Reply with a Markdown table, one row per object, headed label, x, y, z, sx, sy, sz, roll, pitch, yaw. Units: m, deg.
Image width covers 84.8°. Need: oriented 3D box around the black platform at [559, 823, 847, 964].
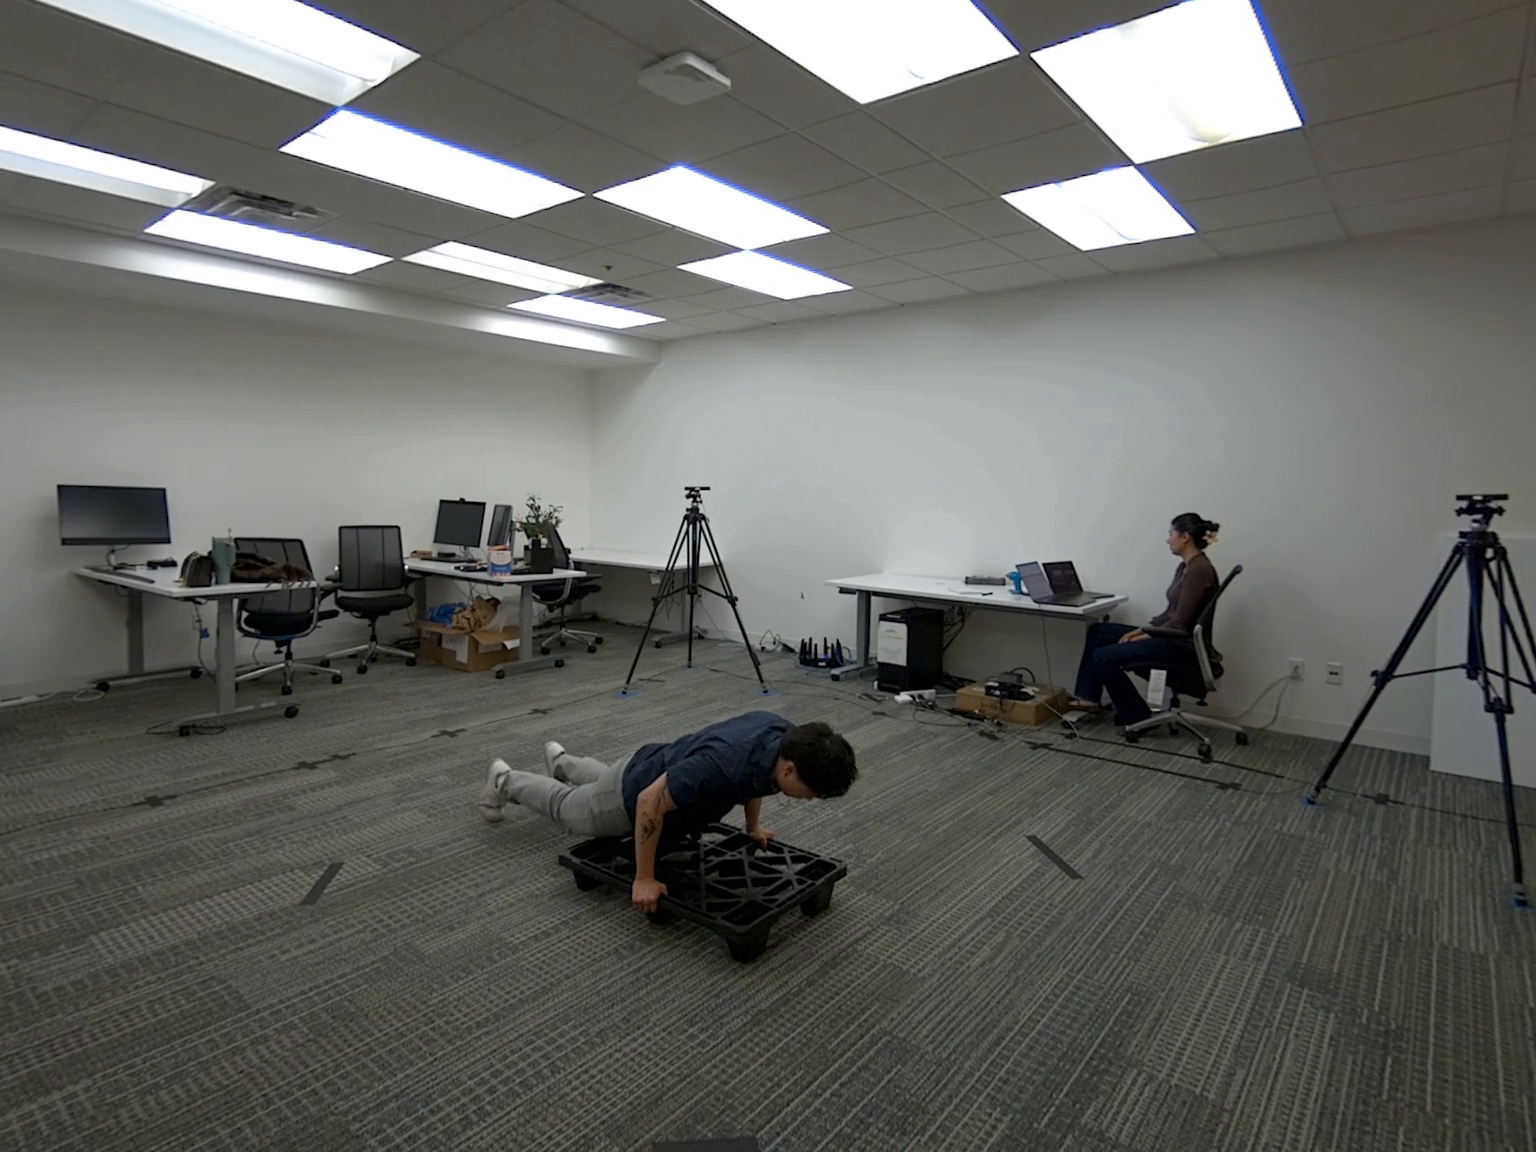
| label | x | y | z | sx | sy | sz | roll | pitch | yaw |
| --- | --- | --- | --- | --- | --- | --- | --- | --- | --- |
| black platform | -0.230 | 1.021 | 2.878 | 0.832 | 0.143 | 0.588 | 5 | 7 | 37 |
